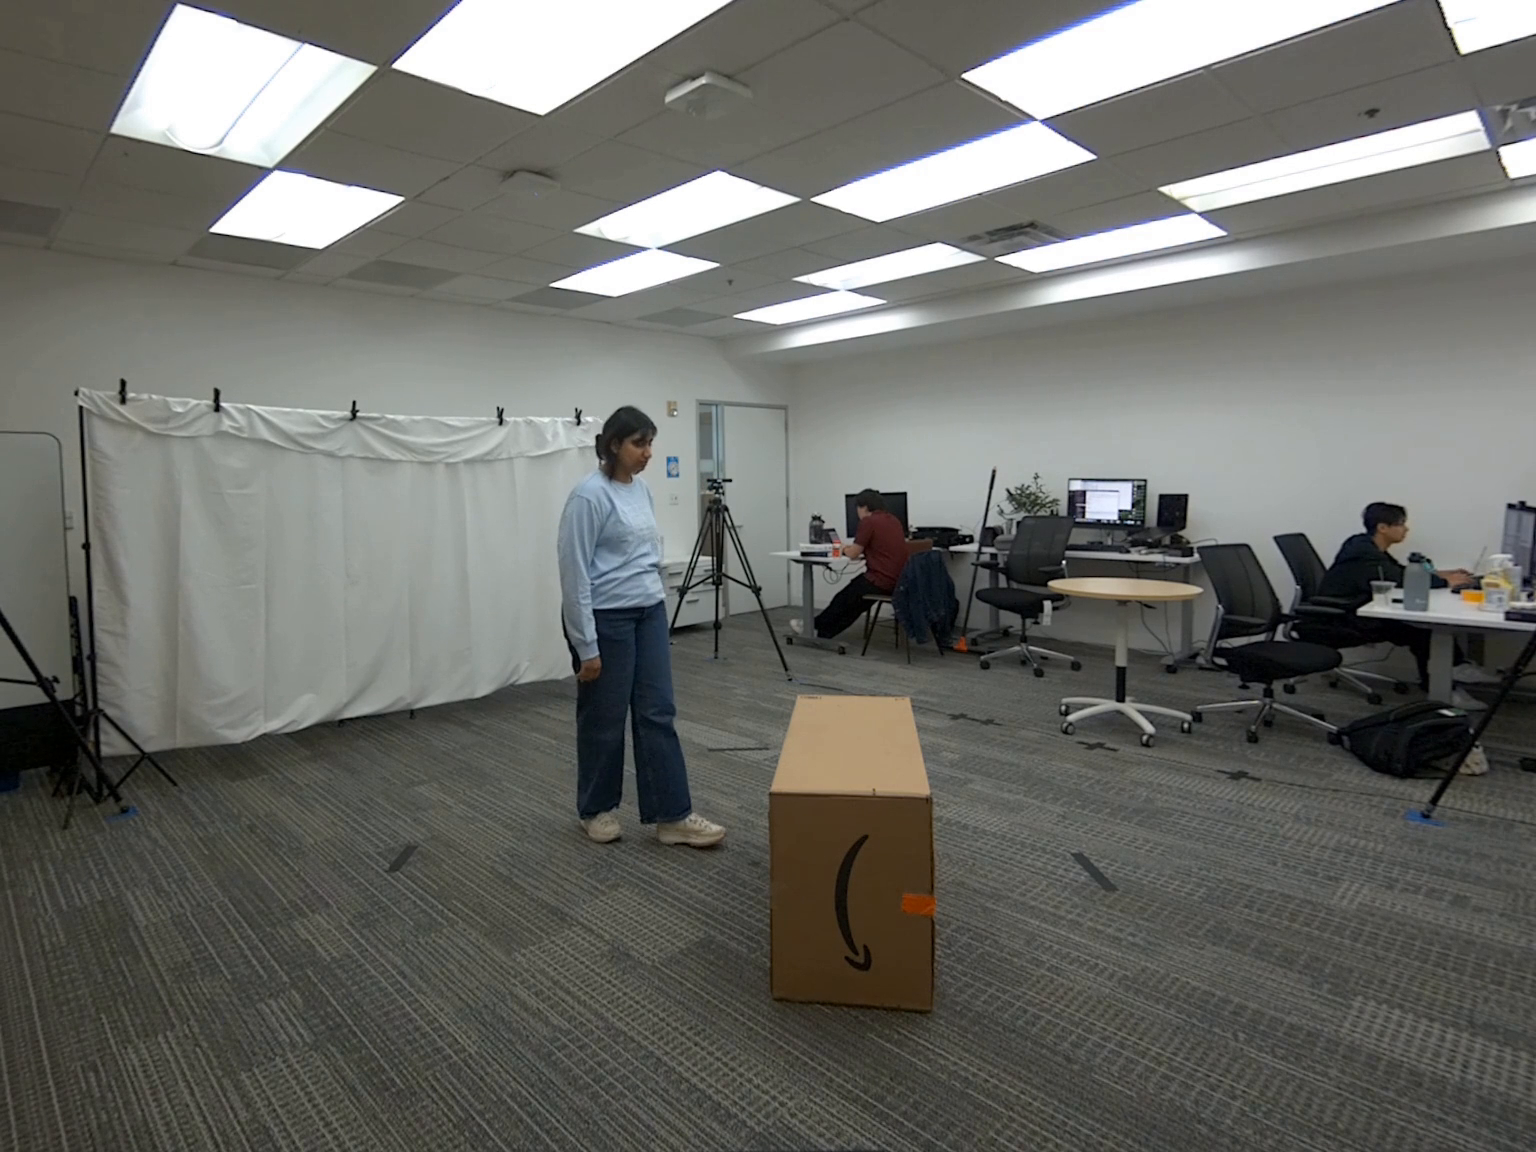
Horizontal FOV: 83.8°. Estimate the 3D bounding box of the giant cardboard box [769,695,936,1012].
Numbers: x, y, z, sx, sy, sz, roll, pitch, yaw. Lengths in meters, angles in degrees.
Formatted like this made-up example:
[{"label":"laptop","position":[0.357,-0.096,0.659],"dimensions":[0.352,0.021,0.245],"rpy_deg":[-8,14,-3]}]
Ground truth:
[{"label":"giant cardboard box","position":[0.274,0.790,2.729],"dimensions":[0.430,0.575,1.022],"rpy_deg":[0,5,7]}]
